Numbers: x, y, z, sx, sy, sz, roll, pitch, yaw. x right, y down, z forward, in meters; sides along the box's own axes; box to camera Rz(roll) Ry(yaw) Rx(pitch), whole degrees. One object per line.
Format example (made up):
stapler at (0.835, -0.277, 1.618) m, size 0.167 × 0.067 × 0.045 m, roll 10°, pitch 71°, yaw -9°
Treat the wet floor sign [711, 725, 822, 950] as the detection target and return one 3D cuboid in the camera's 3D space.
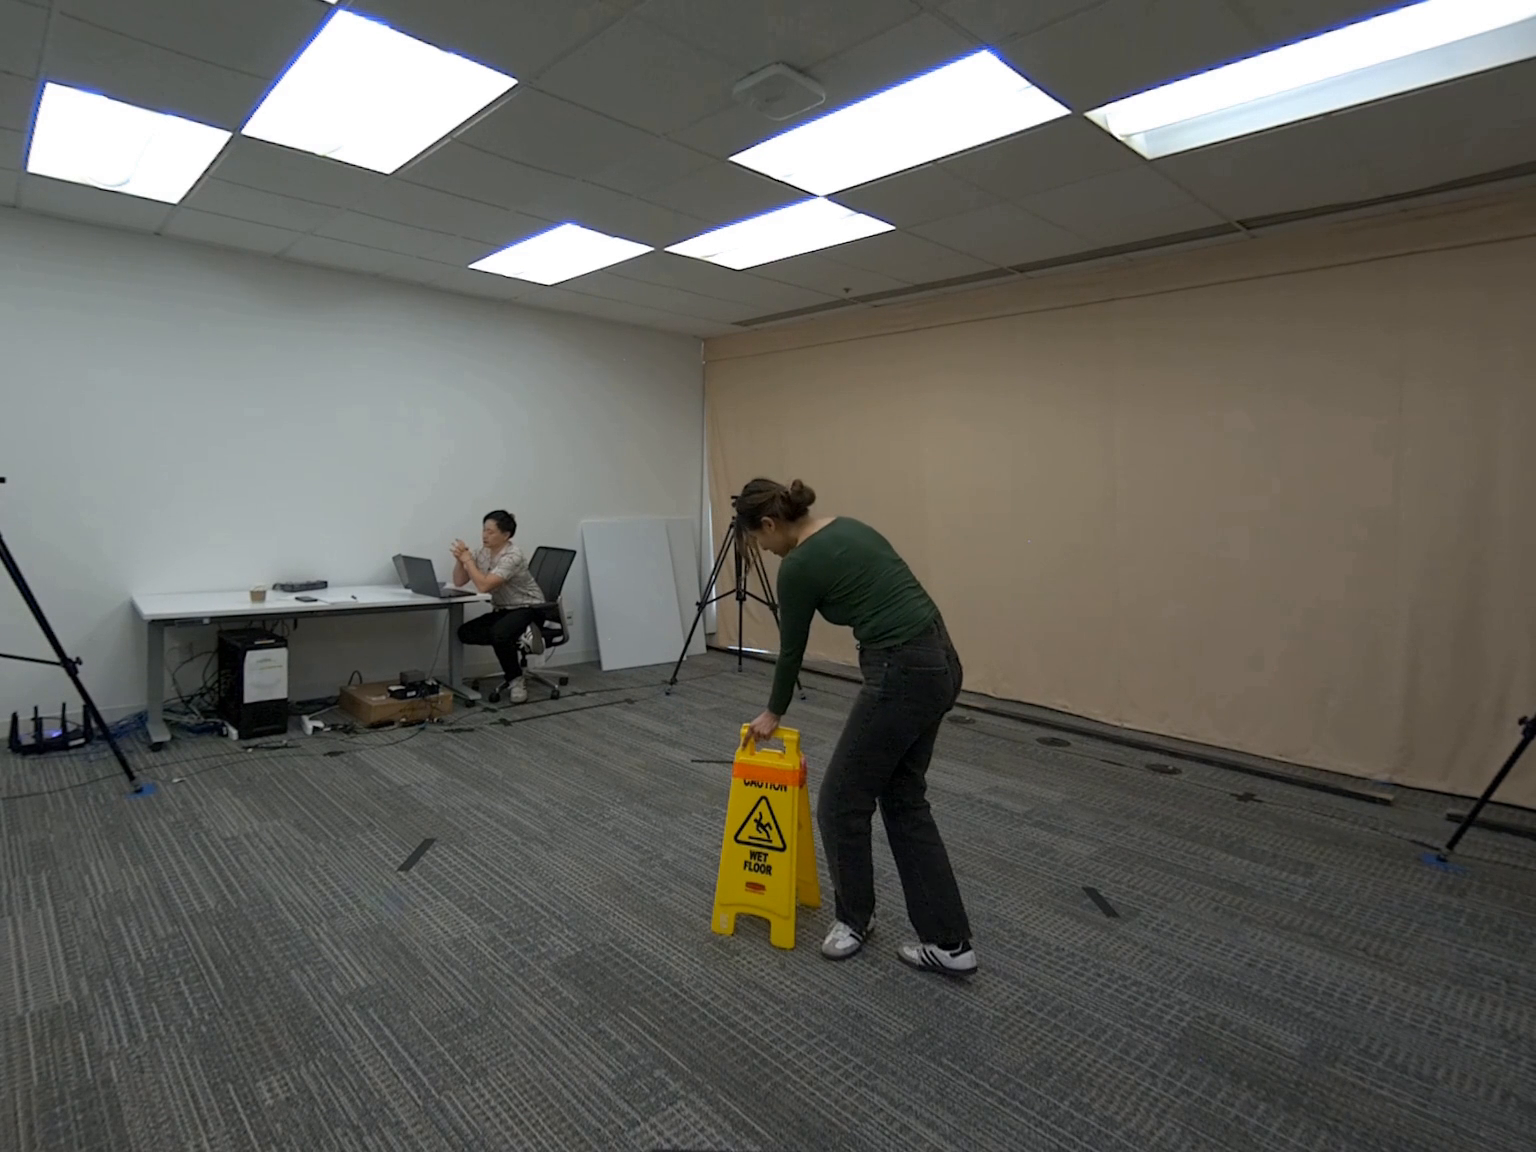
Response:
wet floor sign at (-0.001, 0.809, 2.768) m, size 0.287 × 0.645 × 0.286 m, roll 2°, pitch 3°, yaw 20°
